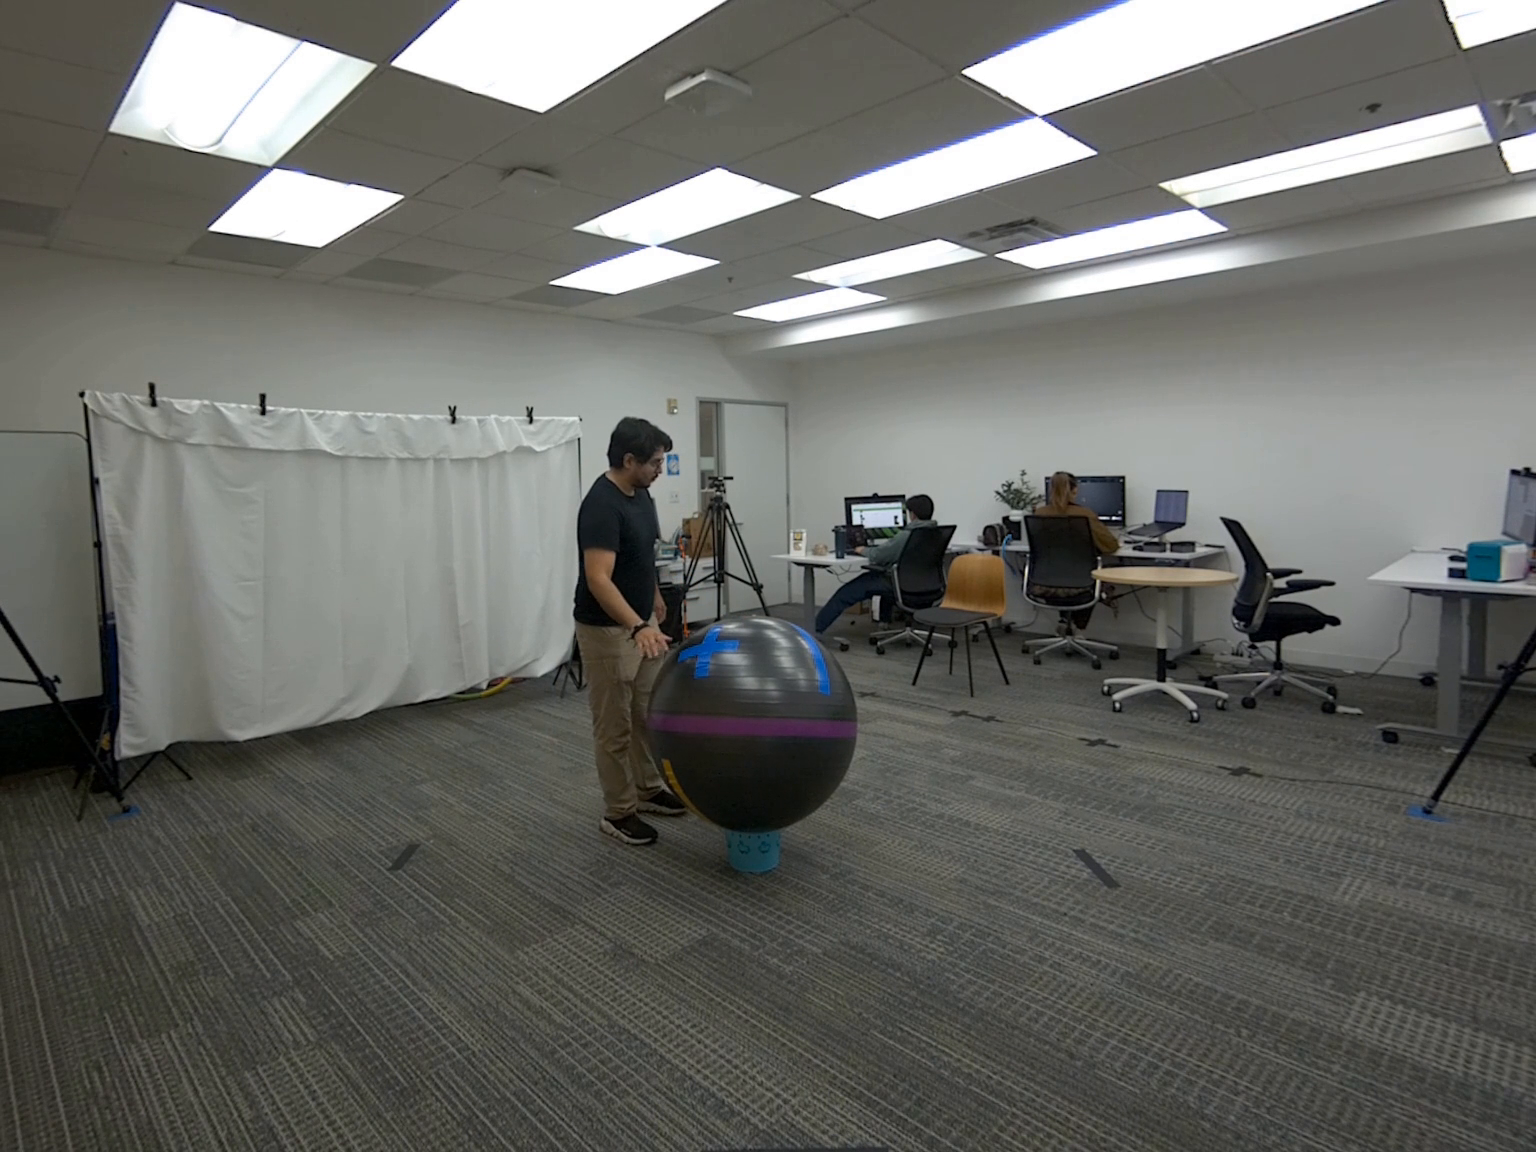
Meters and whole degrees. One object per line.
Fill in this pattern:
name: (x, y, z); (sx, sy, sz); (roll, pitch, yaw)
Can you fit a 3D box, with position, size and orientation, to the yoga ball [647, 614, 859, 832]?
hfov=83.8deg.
yoga ball: (-0.053, 0.531, 3.090); (0.757, 0.755, 0.762); (-1, 5, -2)
